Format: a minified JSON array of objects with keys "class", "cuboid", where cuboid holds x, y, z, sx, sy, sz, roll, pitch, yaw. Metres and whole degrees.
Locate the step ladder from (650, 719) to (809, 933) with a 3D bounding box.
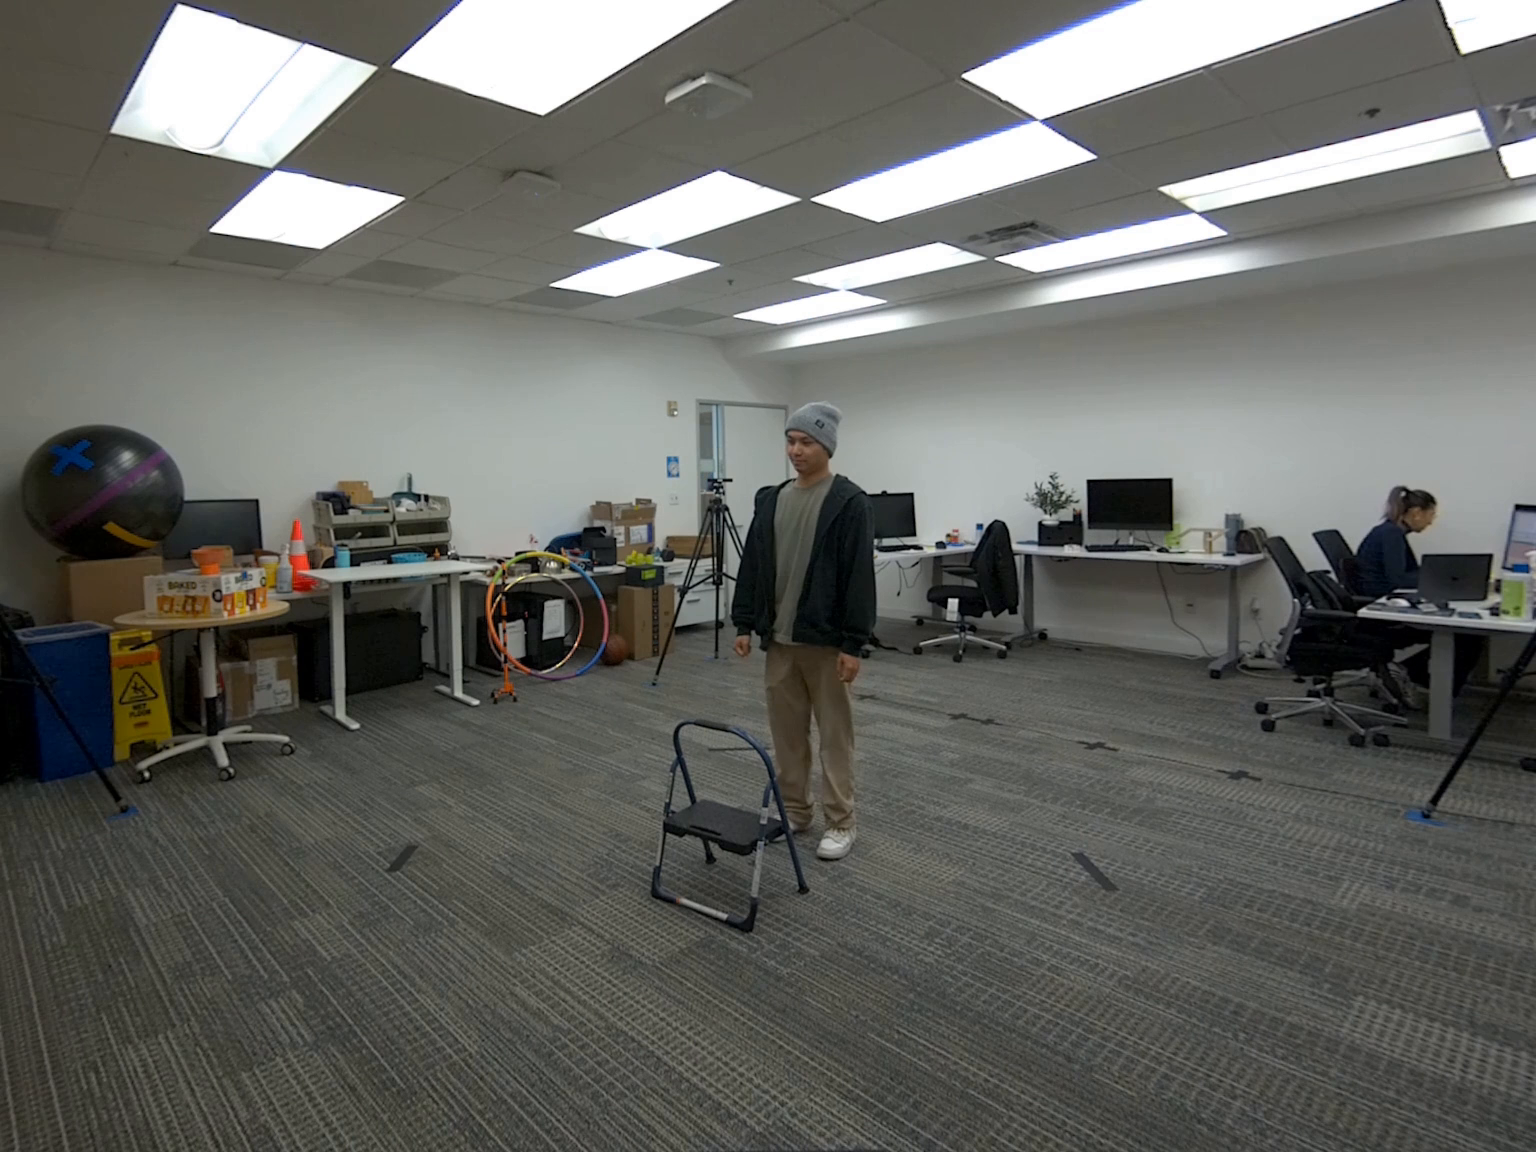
[{"class":"step ladder","cuboid":[-0.135,0.771,2.867,0.443,0.604,0.341,2,5,35]}]
